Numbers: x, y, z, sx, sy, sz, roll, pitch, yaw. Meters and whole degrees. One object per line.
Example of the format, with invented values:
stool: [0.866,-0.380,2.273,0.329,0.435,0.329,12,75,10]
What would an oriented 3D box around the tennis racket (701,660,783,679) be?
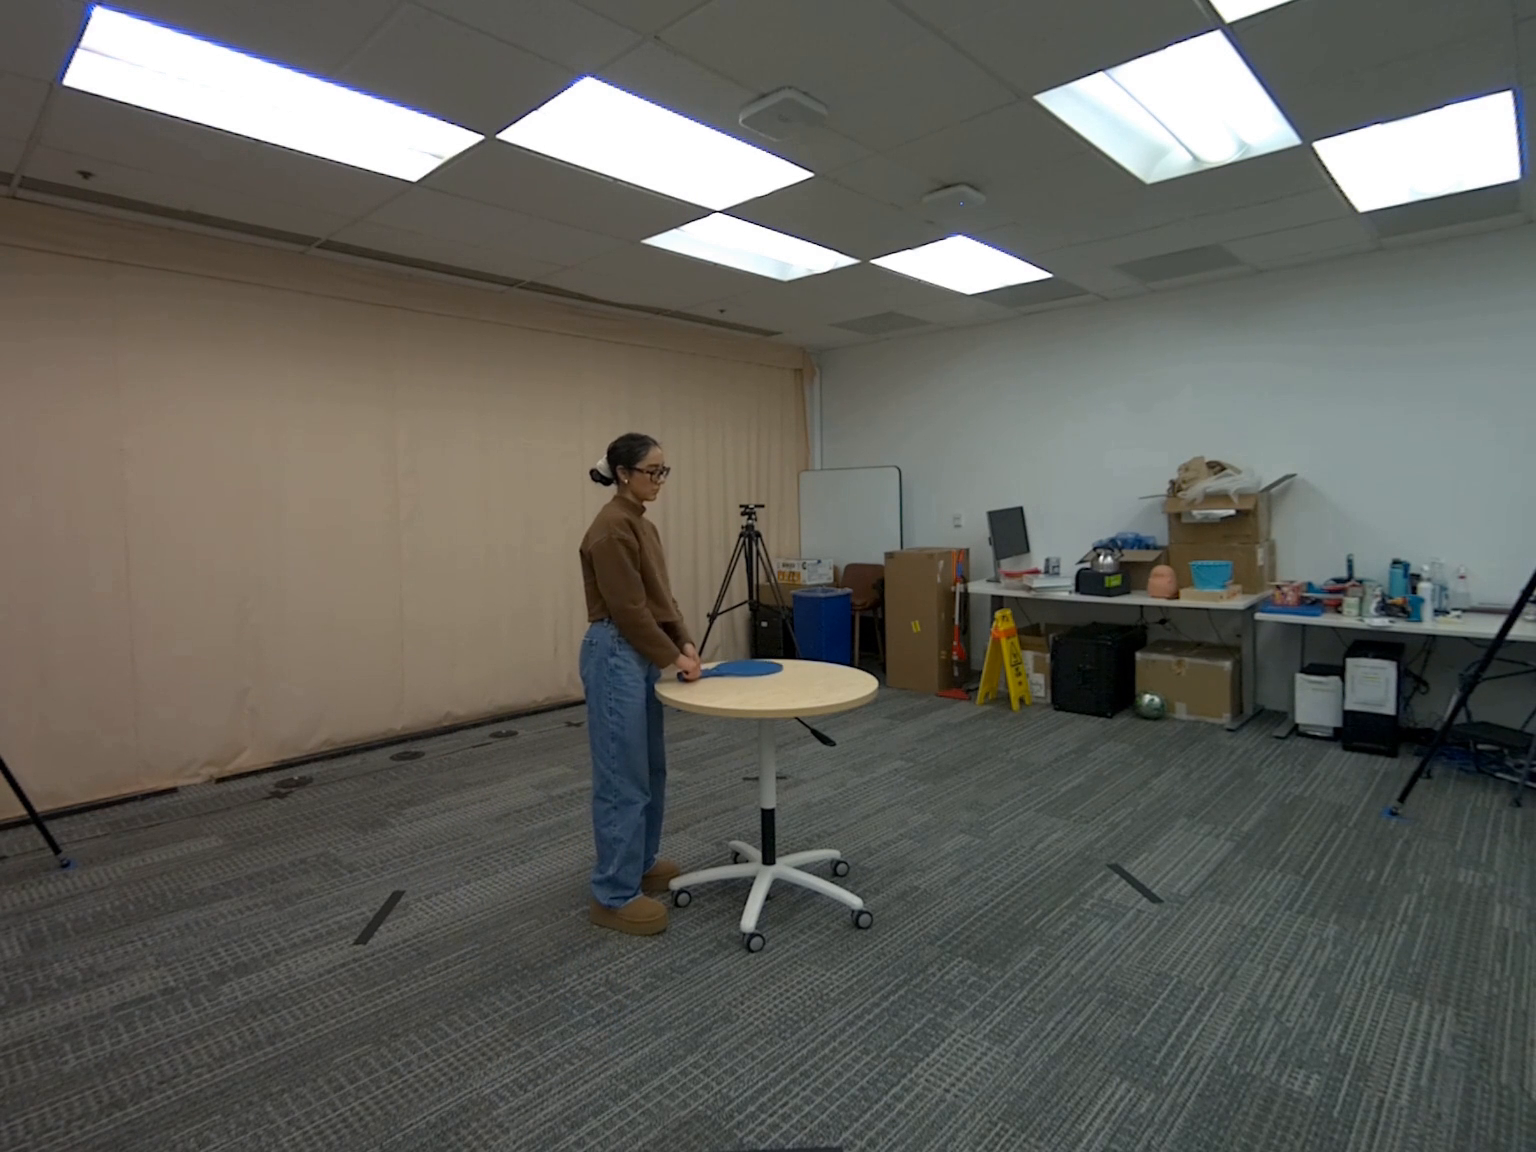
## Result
tennis racket: [-0.137,0.345,3.041,0.421,0.031,0.220,-2,8,-32]
